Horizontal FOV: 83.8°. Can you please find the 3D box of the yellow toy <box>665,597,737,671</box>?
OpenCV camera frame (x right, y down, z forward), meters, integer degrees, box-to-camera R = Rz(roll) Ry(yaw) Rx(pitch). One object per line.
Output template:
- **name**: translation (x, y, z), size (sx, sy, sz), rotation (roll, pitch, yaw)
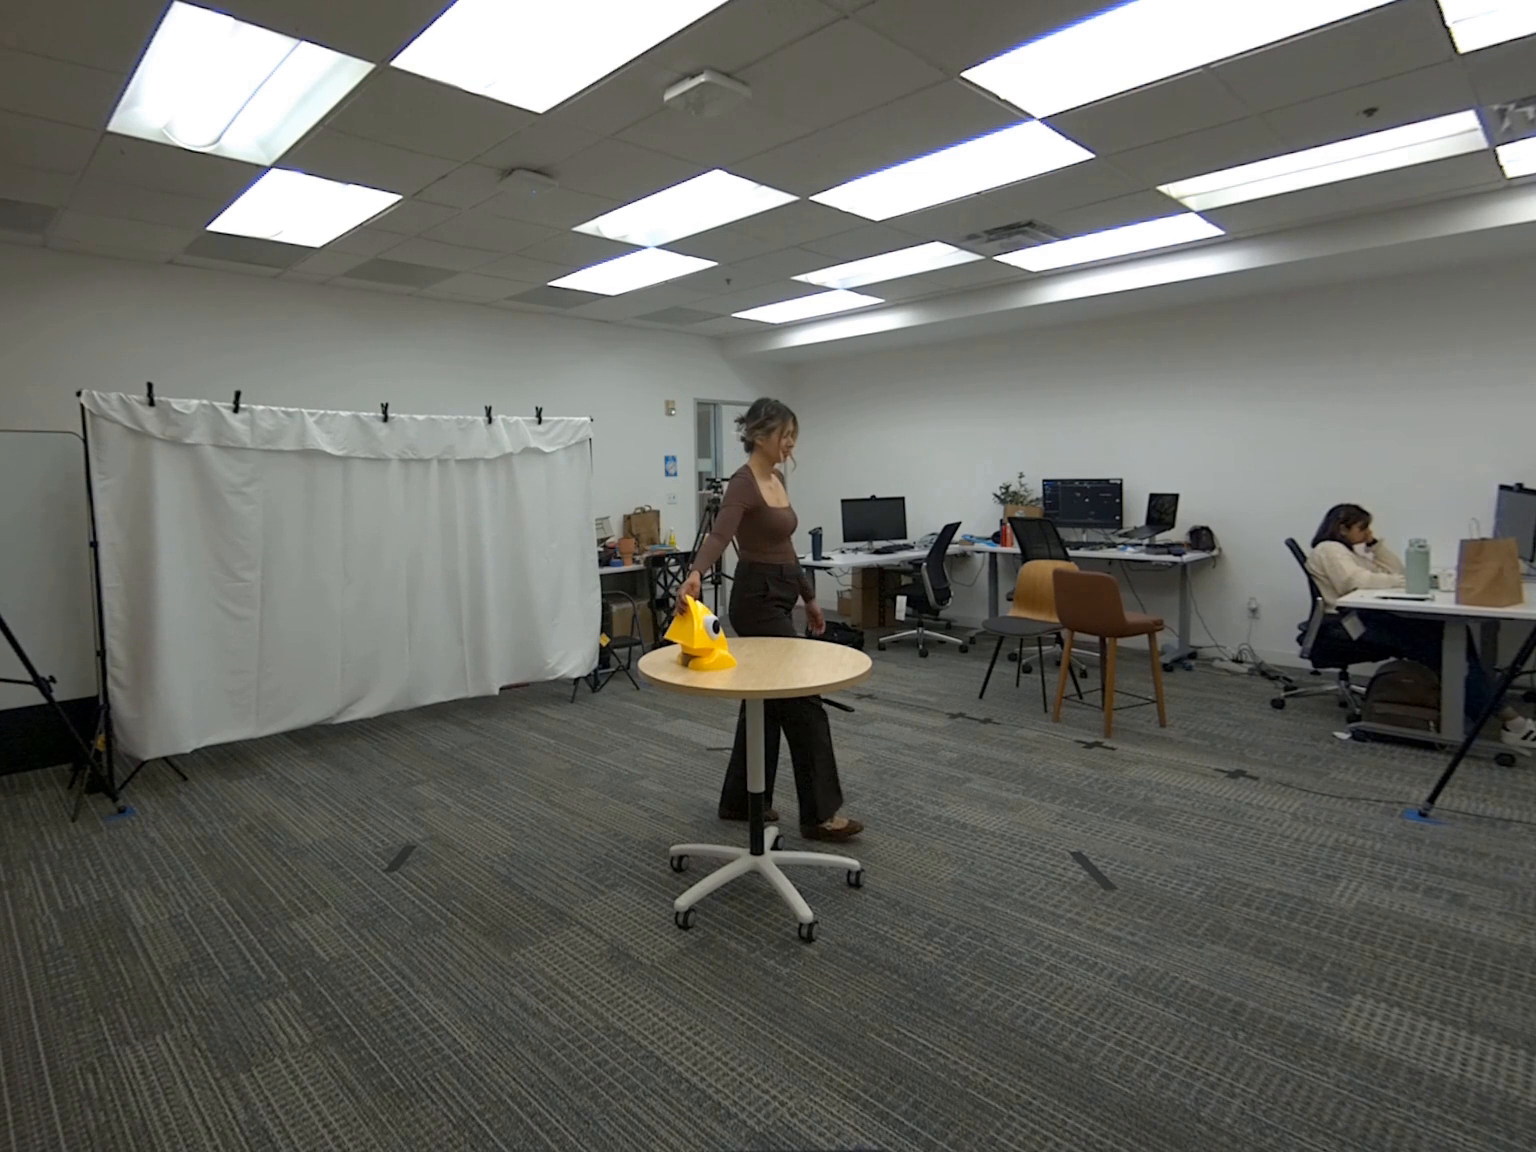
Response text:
- **yellow toy**: translation (-0.208, 0.173, 2.774), size (0.188, 0.229, 0.211), rotation (-4, 7, -33)
